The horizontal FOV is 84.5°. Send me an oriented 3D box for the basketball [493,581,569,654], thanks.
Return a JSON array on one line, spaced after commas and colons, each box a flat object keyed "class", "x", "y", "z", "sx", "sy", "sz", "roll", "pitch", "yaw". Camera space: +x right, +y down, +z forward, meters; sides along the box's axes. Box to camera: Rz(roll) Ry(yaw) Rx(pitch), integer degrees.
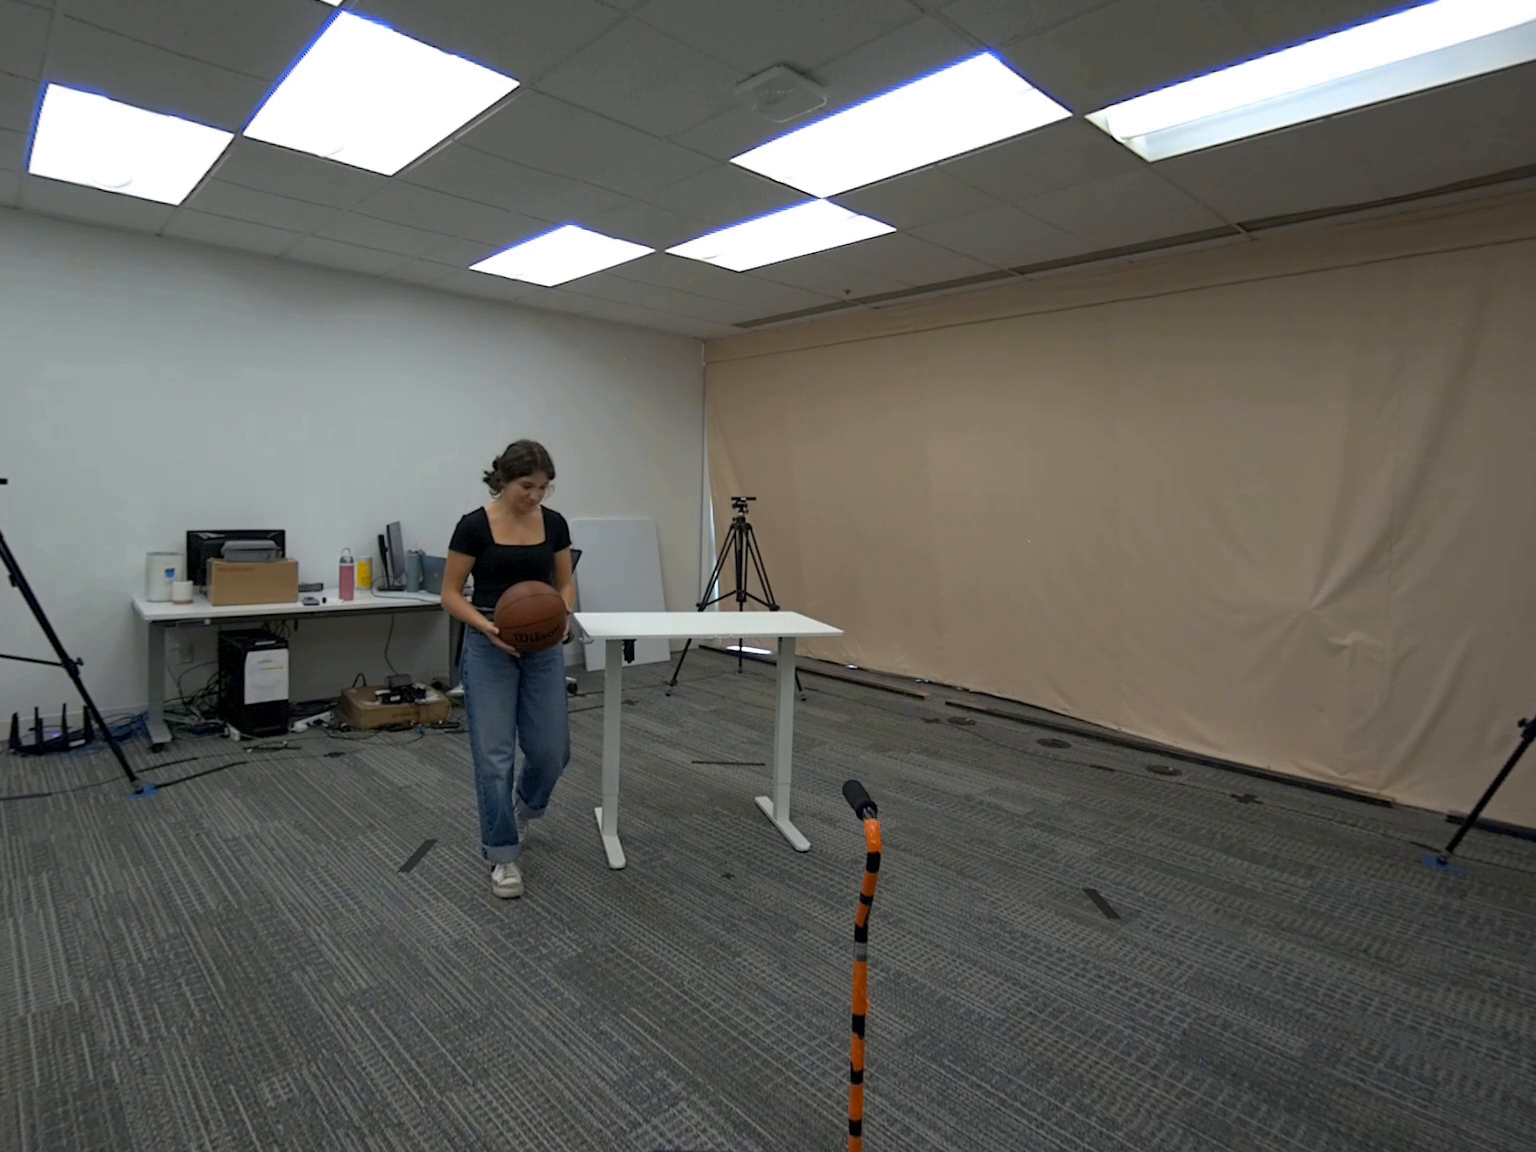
[{"class": "basketball", "x": -0.804, "y": 0.135, "z": 2.807, "sx": 0.236, "sy": 0.235, "sz": 0.237, "roll": 1, "pitch": 4, "yaw": -1}]
